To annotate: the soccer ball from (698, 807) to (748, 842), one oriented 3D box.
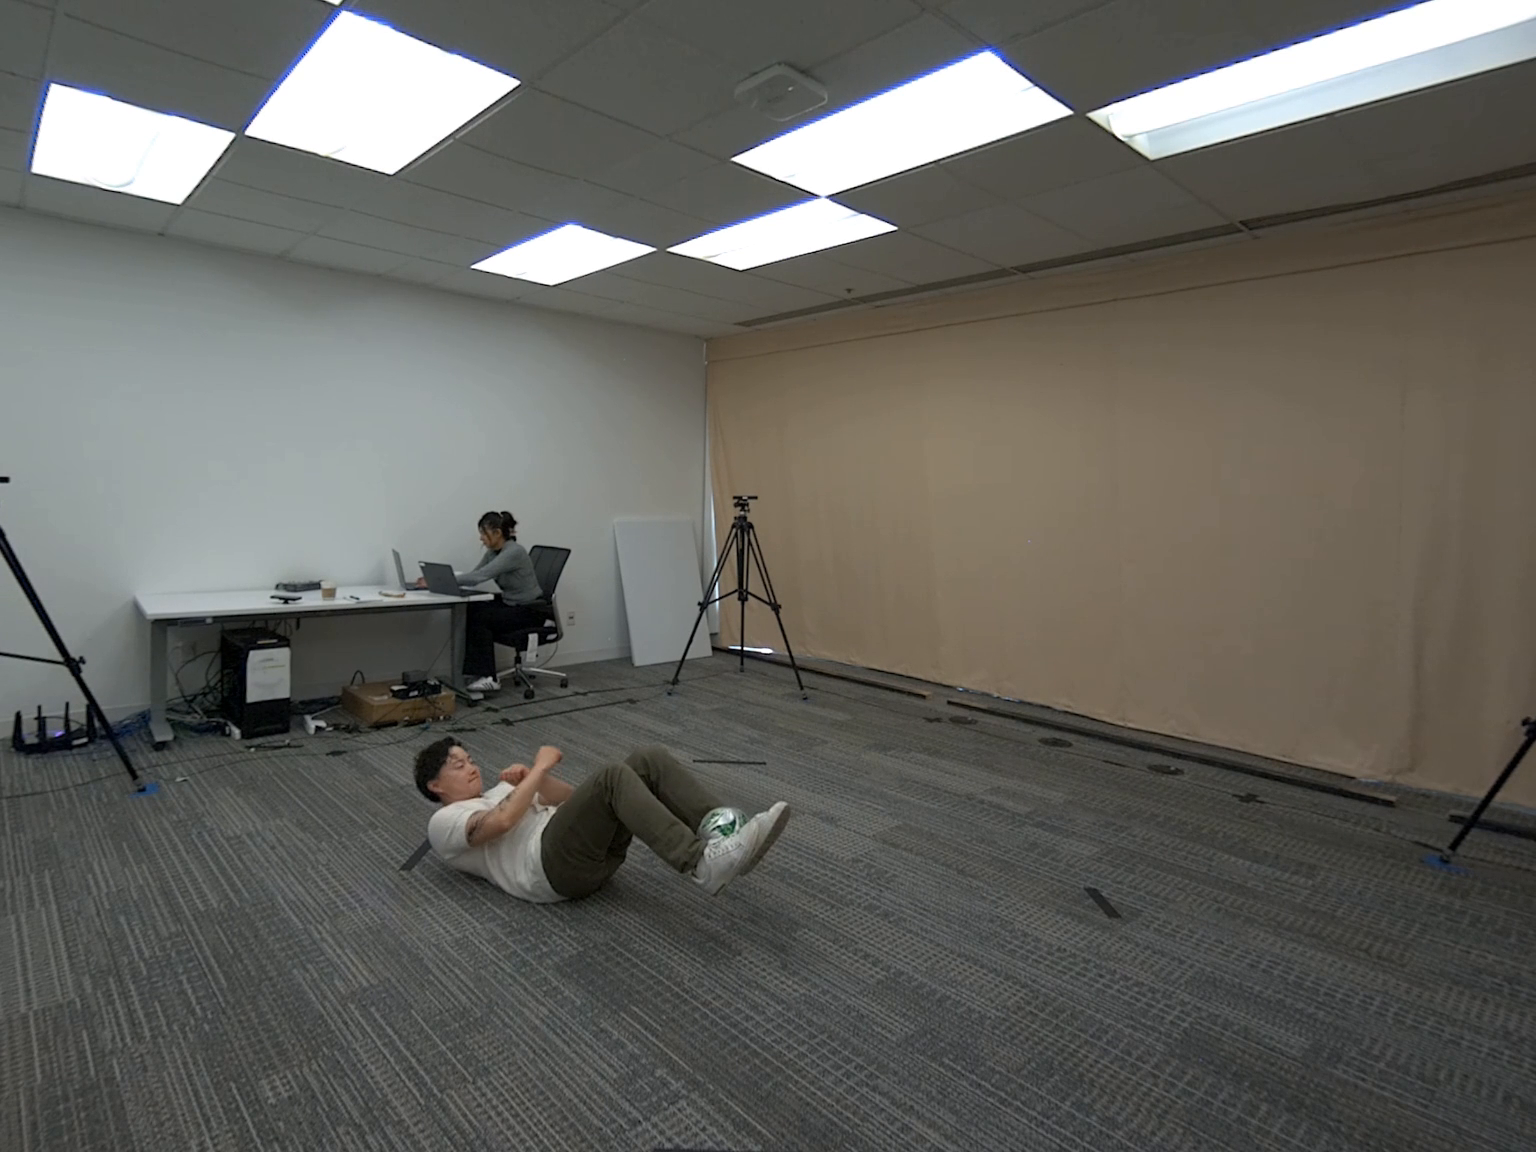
[{"bbox_3d":[-0.146,0.842,2.684,0.187,0.187,0.188,1,4,-1],"label":"soccer ball"}]
